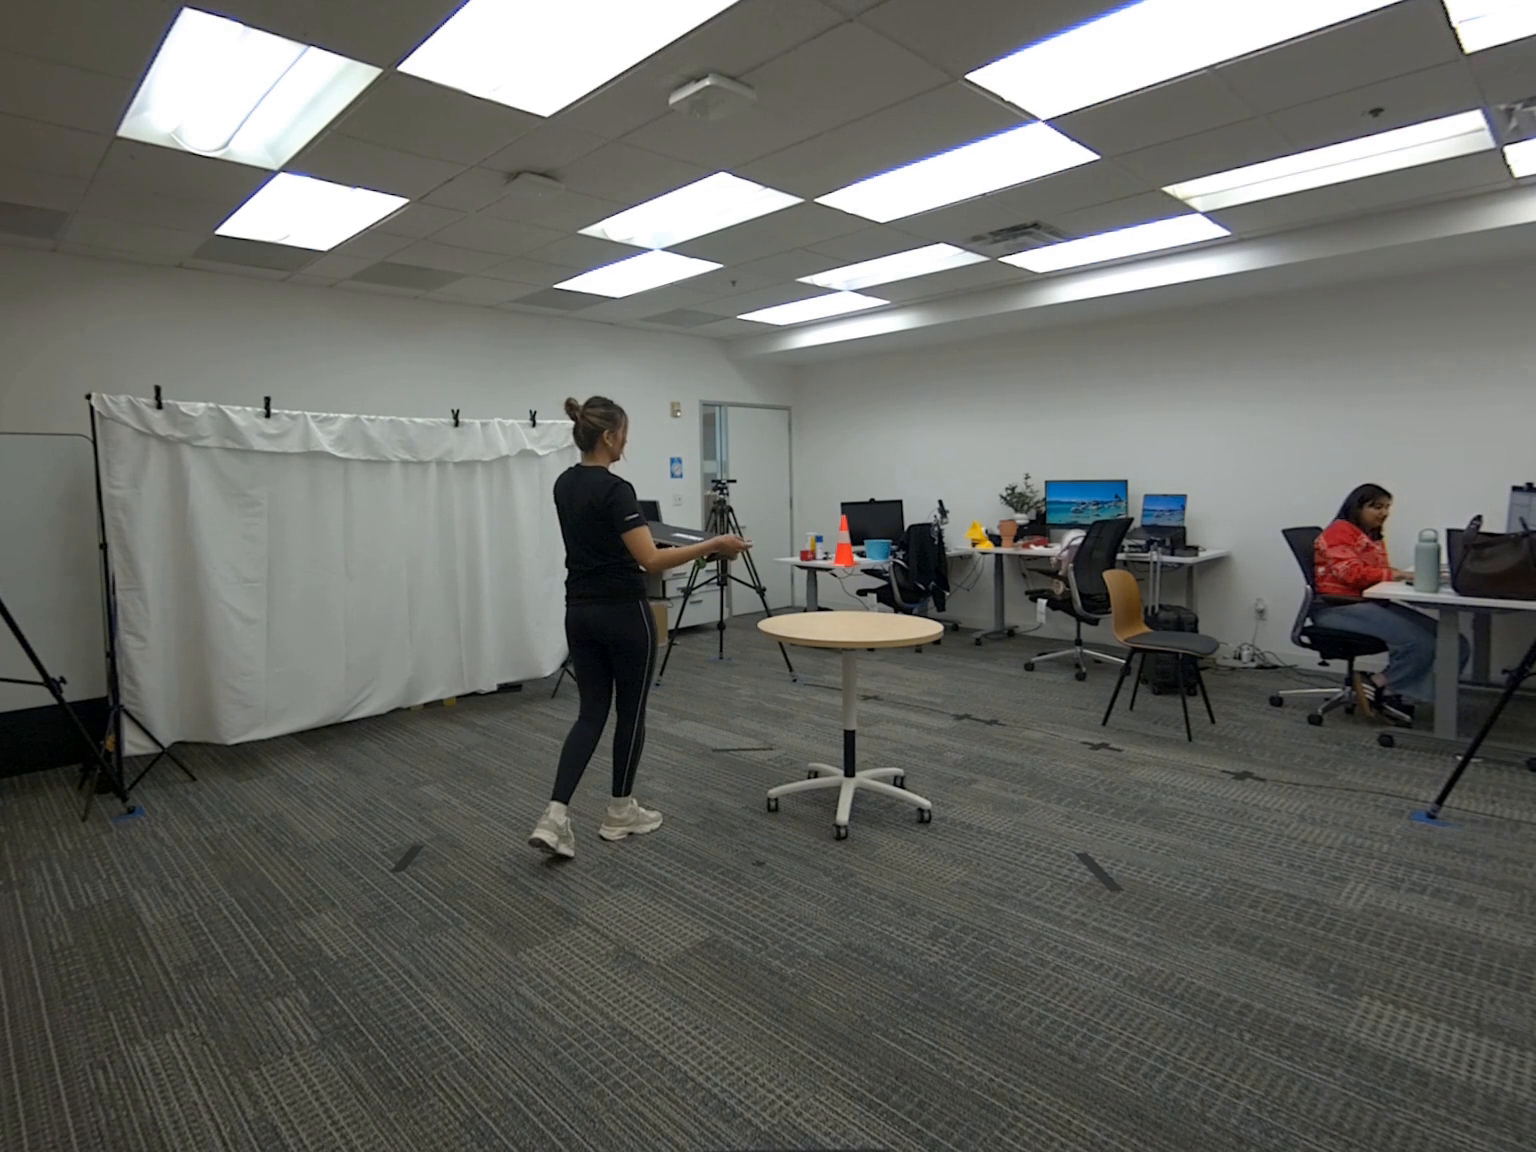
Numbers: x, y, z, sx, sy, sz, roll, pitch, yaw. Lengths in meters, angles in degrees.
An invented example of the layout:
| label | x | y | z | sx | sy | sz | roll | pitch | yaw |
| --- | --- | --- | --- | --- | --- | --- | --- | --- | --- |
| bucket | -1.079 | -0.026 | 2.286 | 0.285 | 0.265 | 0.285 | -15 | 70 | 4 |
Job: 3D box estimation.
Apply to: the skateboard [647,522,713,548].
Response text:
| label | x | y | z | sx | sy | sz | roll | pitch | yaw |
| --- | --- | --- | --- | --- | --- | --- | --- | --- | --- |
| skateboard | -0.337 | -0.125 | 3.516 | 0.190 | 0.109 | 0.812 | -17 | 19 | -37 |
